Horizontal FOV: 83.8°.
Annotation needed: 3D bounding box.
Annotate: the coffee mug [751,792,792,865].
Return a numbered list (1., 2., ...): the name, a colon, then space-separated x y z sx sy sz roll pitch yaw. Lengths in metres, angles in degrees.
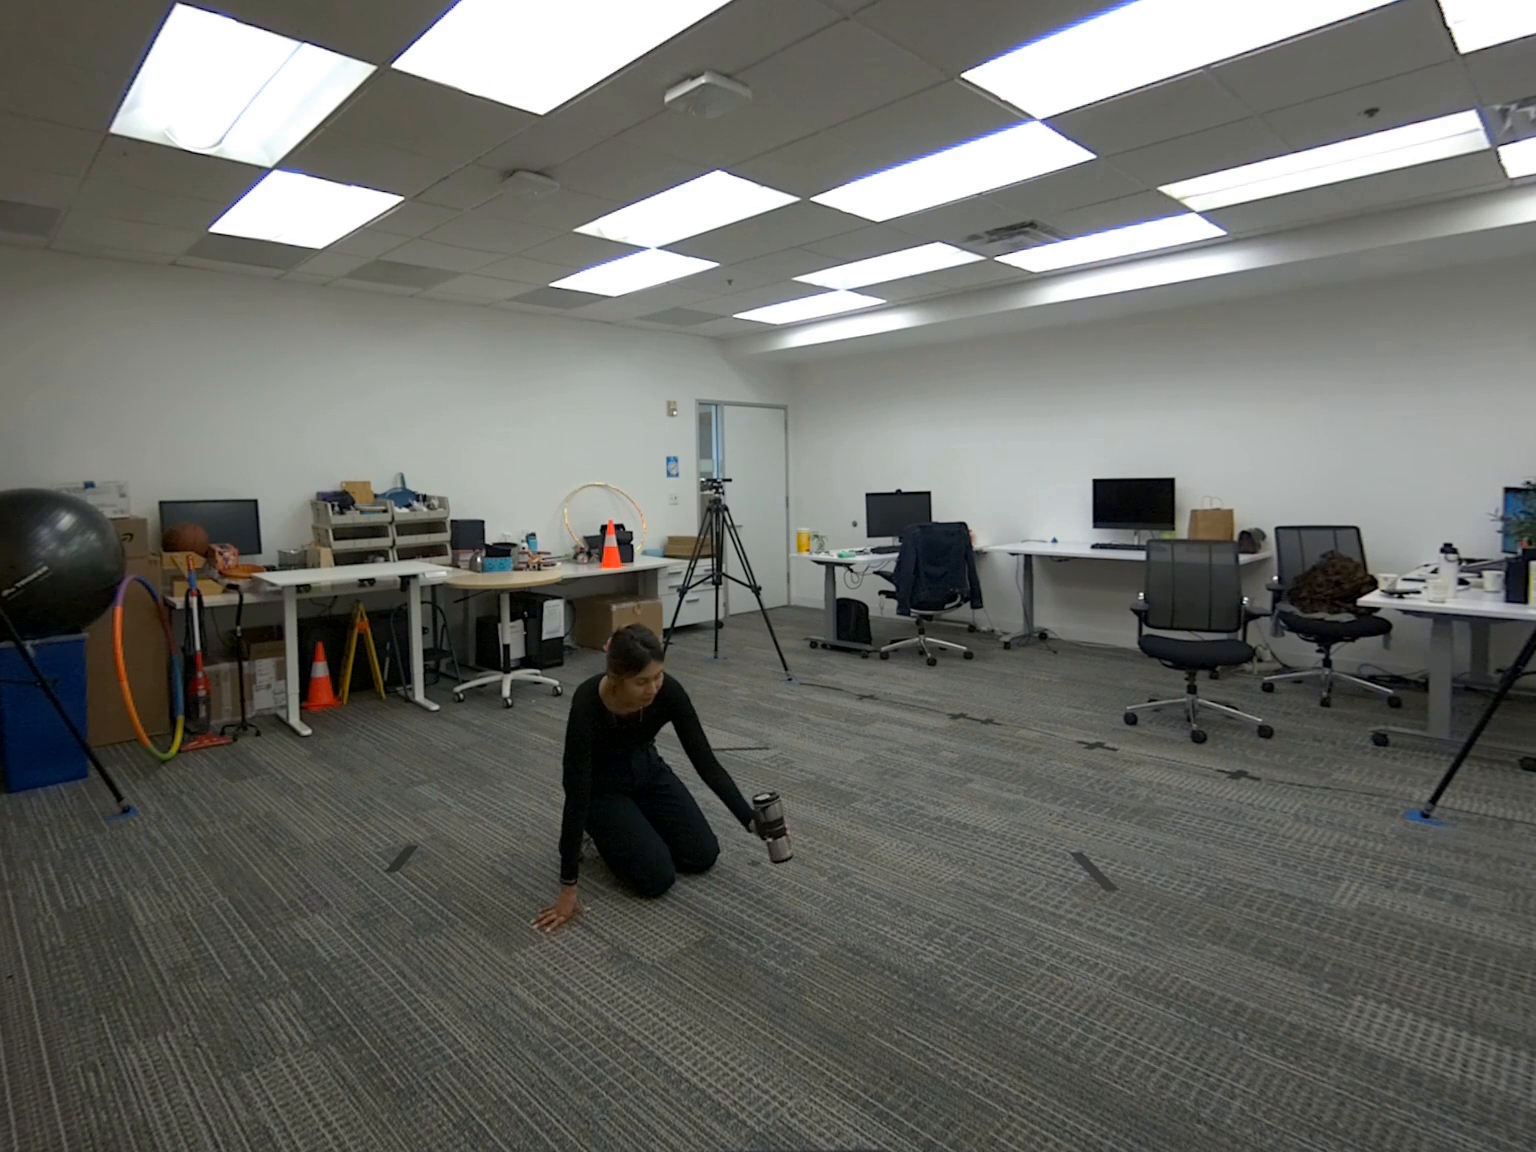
1. coffee mug: -0.010 0.791 2.623 0.090 0.203 0.119 -11 -2 43
